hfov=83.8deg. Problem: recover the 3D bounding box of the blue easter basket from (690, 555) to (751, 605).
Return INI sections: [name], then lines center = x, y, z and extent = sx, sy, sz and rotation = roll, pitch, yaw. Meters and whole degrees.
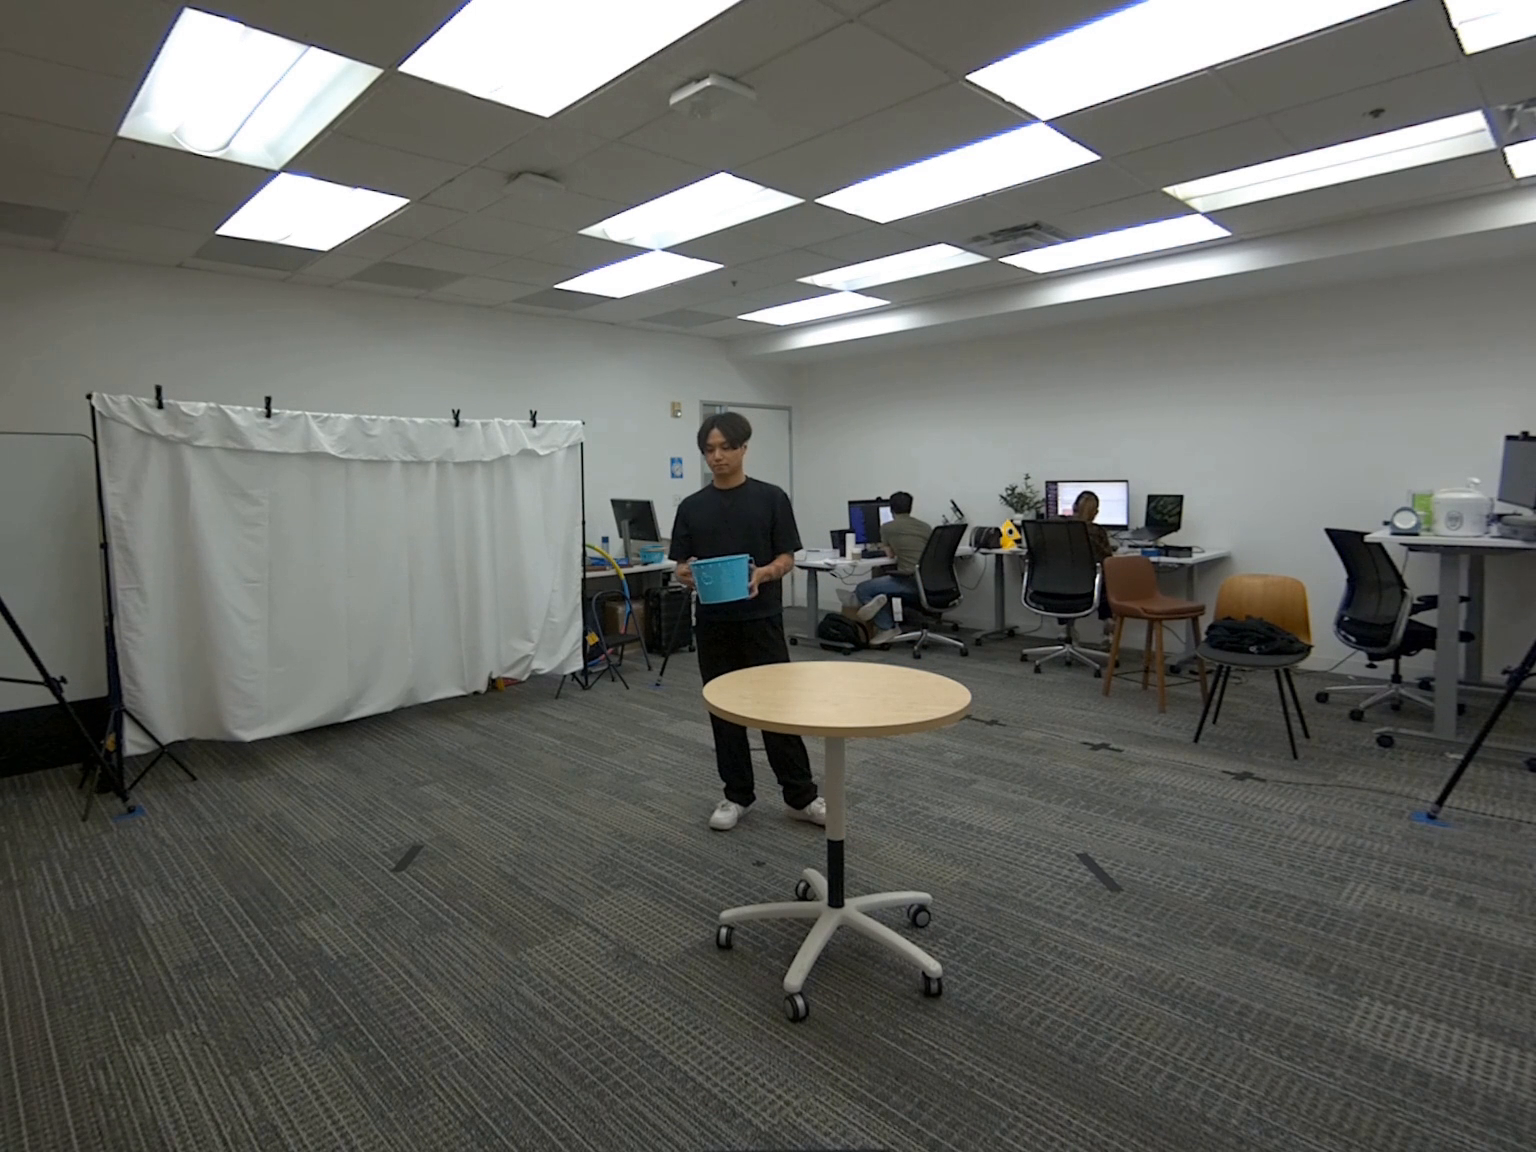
[blue easter basket]
center = -0.176, 0.015, 3.165
extent = 0.243, 0.155, 0.244
rotation = -9, 3, -1
